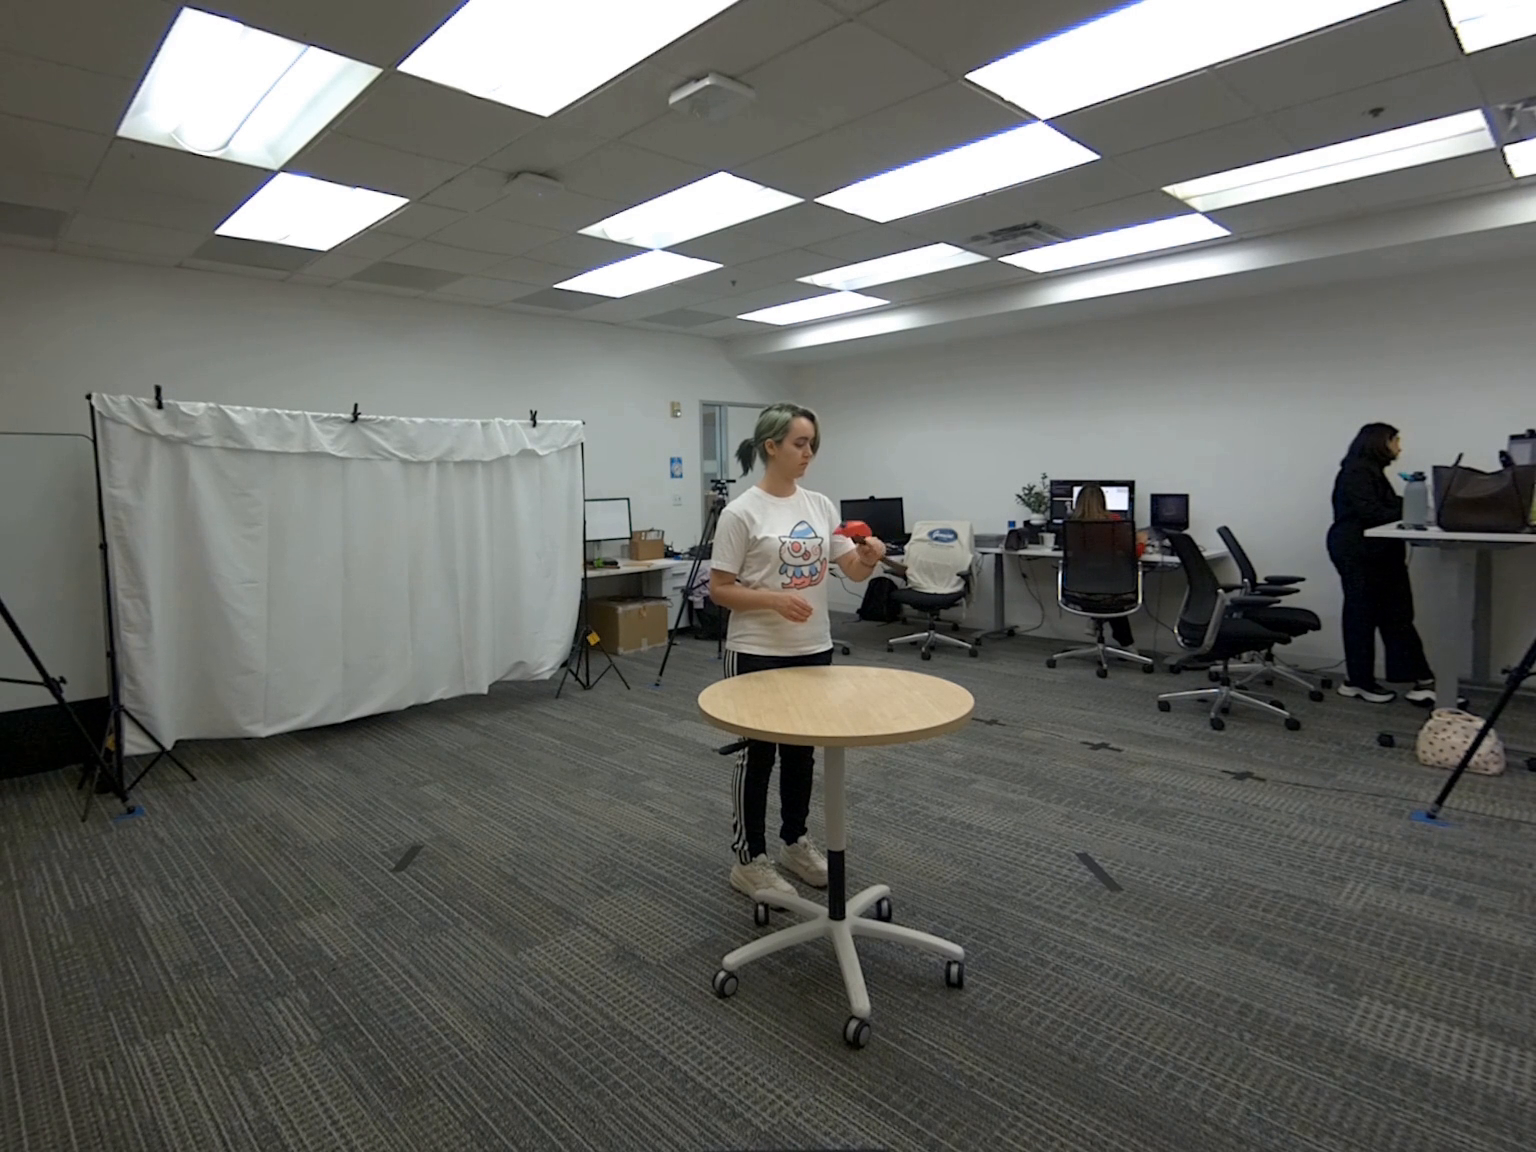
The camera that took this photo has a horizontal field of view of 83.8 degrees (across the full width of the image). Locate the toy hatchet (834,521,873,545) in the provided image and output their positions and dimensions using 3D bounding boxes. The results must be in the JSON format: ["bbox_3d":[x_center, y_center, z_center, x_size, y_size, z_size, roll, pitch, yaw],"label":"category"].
[{"bbox_3d":[0.344,-0.097,2.632,0.266,0.030,0.131,23,-29,-11],"label":"toy hatchet"}]
